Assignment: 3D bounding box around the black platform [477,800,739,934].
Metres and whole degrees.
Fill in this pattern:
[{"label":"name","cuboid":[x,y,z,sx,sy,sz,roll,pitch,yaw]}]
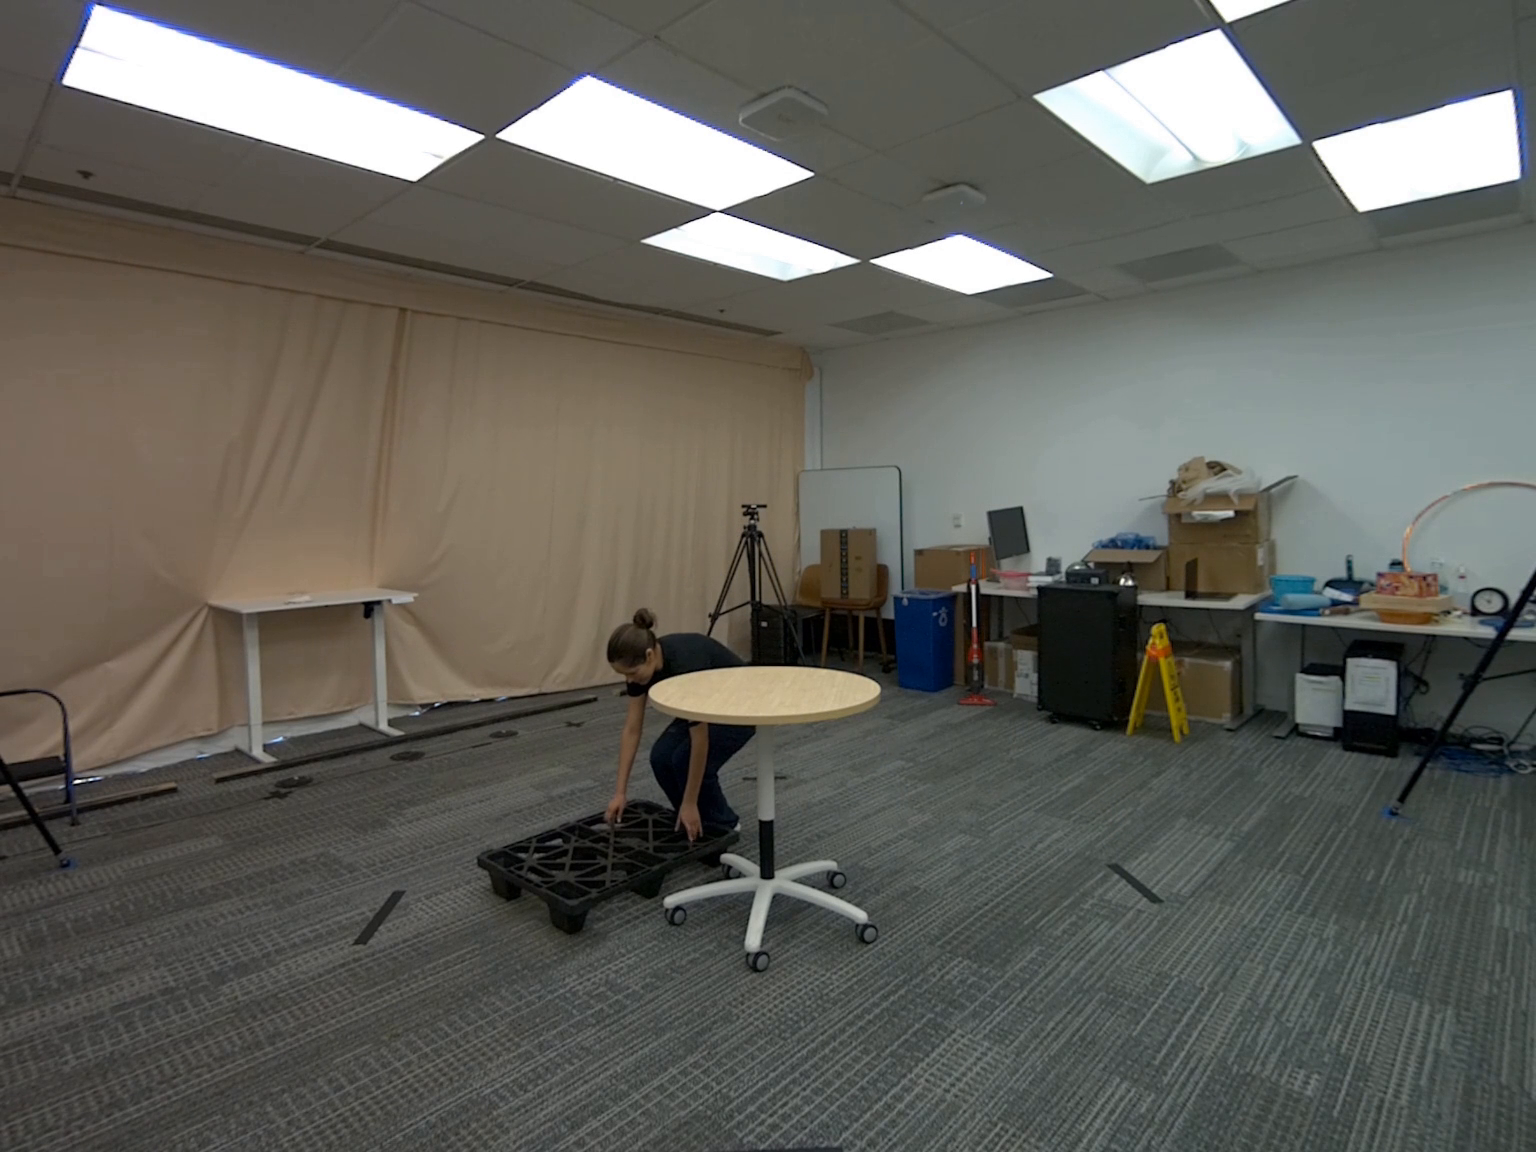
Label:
[{"label":"black platform","cuboid":[-0.574,1.071,3.161,0.625,0.143,0.781,4,7,42]}]
